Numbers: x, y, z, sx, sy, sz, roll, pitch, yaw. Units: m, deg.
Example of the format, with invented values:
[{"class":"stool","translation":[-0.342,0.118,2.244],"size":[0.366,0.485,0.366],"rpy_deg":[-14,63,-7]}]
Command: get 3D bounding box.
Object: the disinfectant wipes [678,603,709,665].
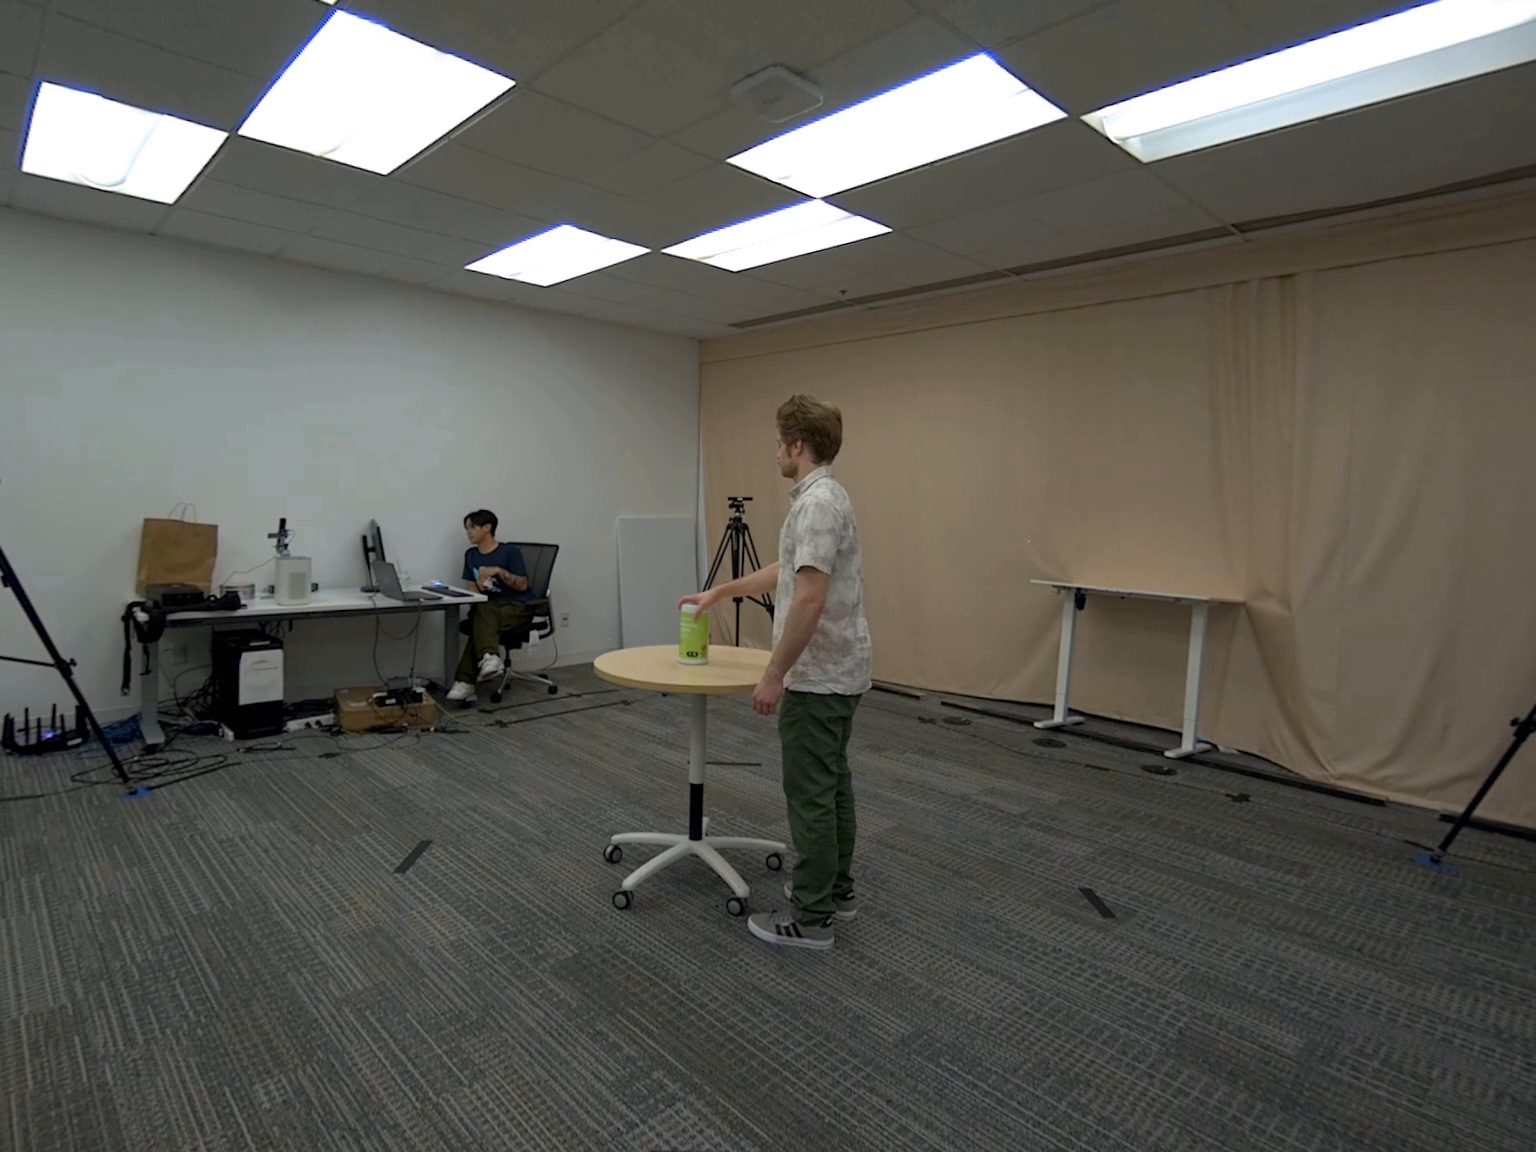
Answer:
[{"class":"disinfectant wipes","translation":[-0.274,0.211,3.059],"size":[0.118,0.217,0.118],"rpy_deg":[2,4,-1]}]
